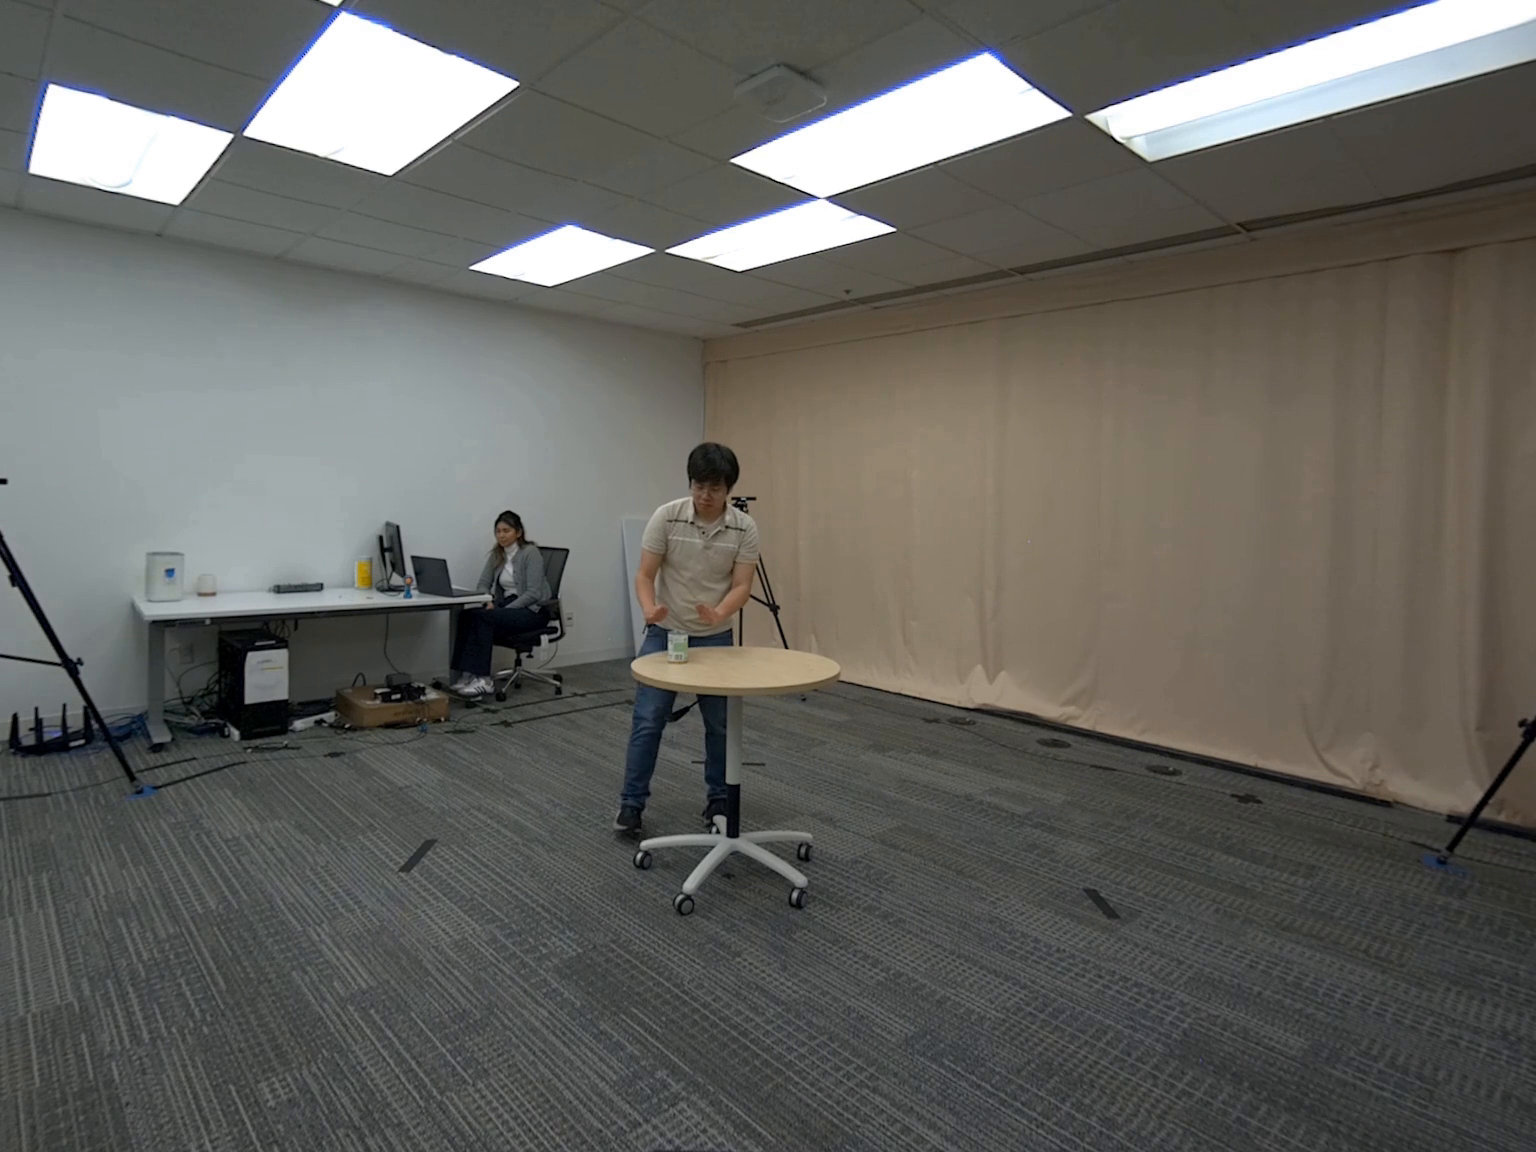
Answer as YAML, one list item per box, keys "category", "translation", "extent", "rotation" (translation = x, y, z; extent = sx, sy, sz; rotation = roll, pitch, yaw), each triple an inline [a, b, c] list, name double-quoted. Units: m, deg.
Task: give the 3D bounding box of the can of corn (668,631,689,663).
- category: "can of corn"
  translation: [-0.352, 0.267, 3.116]
  extent: [0.074, 0.111, 0.074]
  rotation: [-1, 2, -1]
